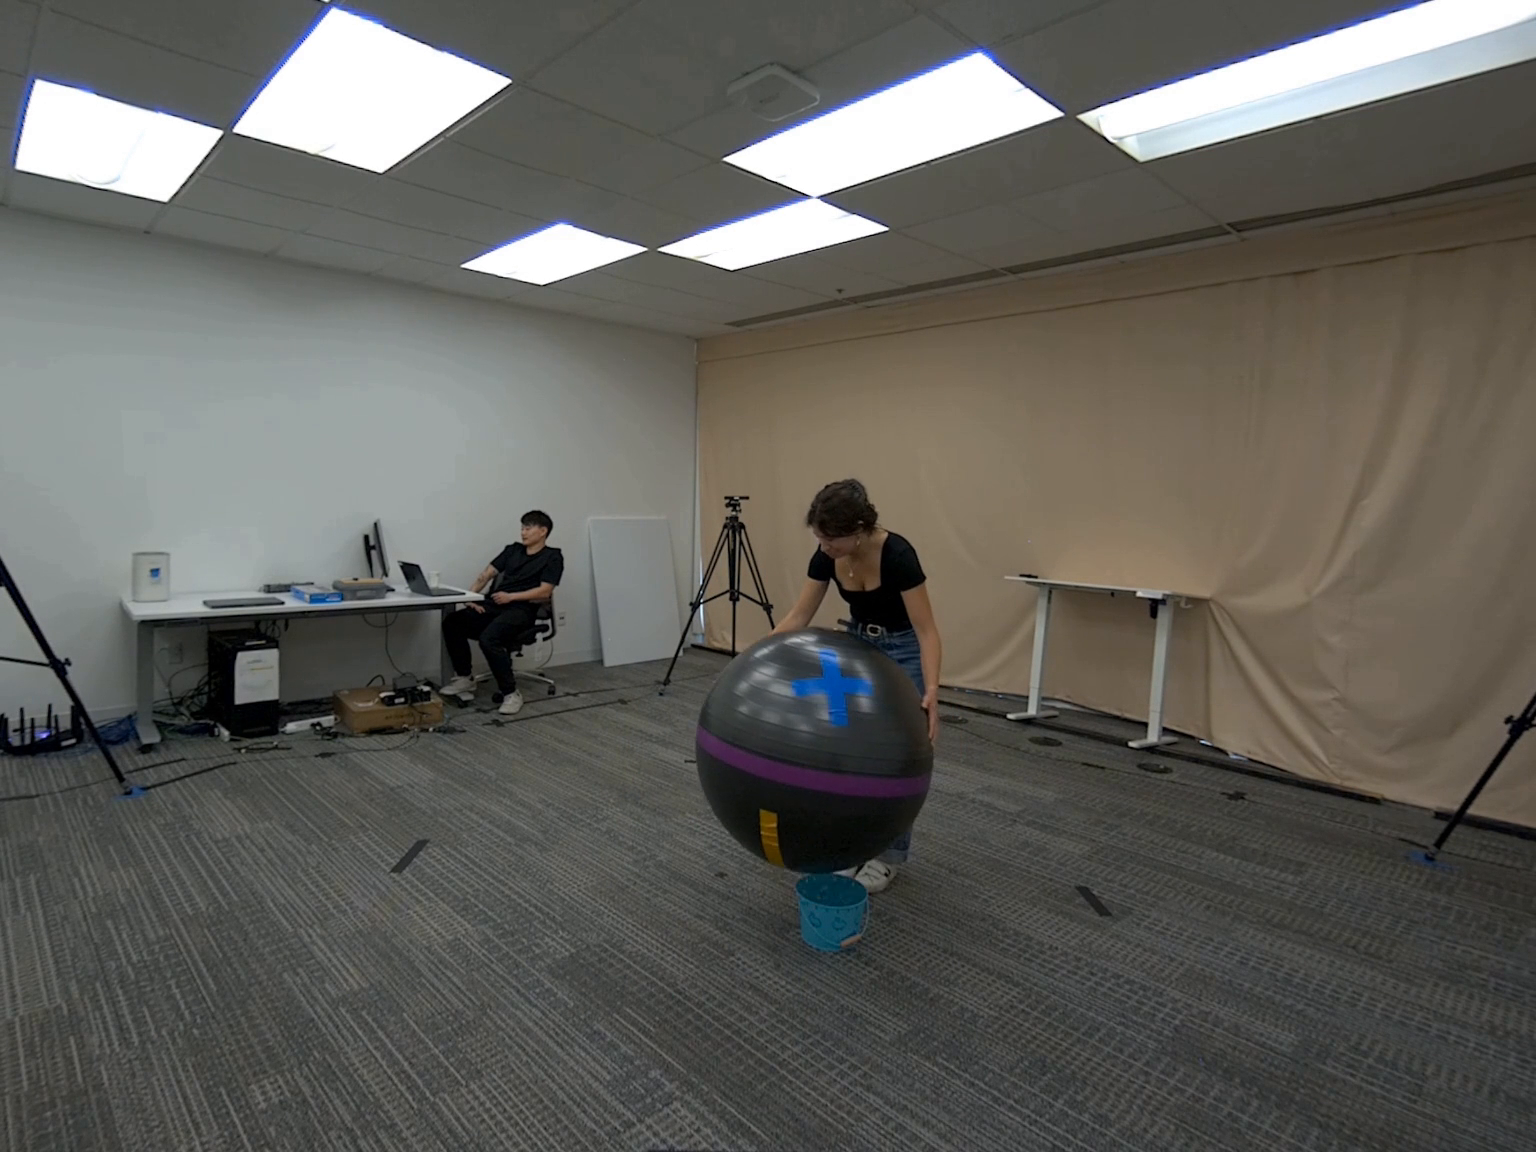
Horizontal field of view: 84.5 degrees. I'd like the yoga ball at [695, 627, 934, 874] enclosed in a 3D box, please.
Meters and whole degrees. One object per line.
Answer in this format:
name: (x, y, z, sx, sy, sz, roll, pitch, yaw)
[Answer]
yoga ball: (0.141, 0.551, 2.694, 0.757, 0.756, 0.761, 1, 4, -1)
